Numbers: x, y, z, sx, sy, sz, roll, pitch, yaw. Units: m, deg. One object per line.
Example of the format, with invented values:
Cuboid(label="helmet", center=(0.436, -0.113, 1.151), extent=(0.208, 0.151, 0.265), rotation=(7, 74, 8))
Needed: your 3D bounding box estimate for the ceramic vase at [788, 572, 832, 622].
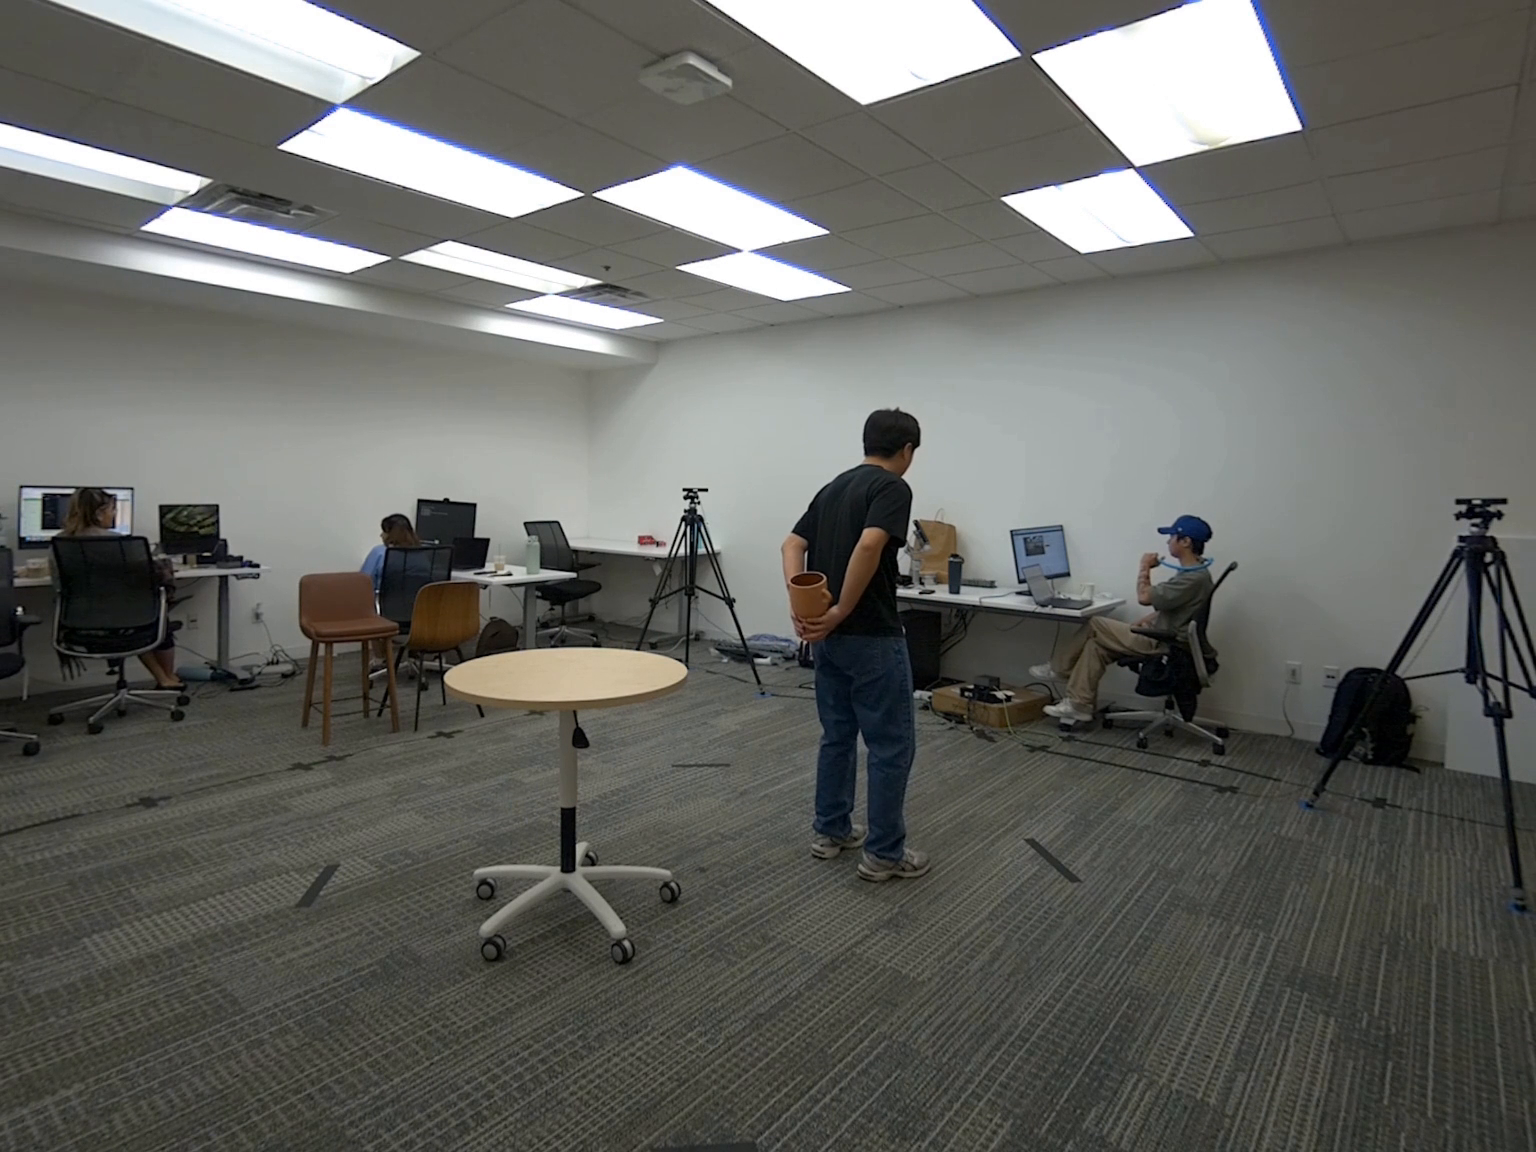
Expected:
Cuboid(label="ceramic vase", center=(0.149, 0.105, 3.021), extent=(0.134, 0.215, 0.163), rotation=(-9, 21, -6))
